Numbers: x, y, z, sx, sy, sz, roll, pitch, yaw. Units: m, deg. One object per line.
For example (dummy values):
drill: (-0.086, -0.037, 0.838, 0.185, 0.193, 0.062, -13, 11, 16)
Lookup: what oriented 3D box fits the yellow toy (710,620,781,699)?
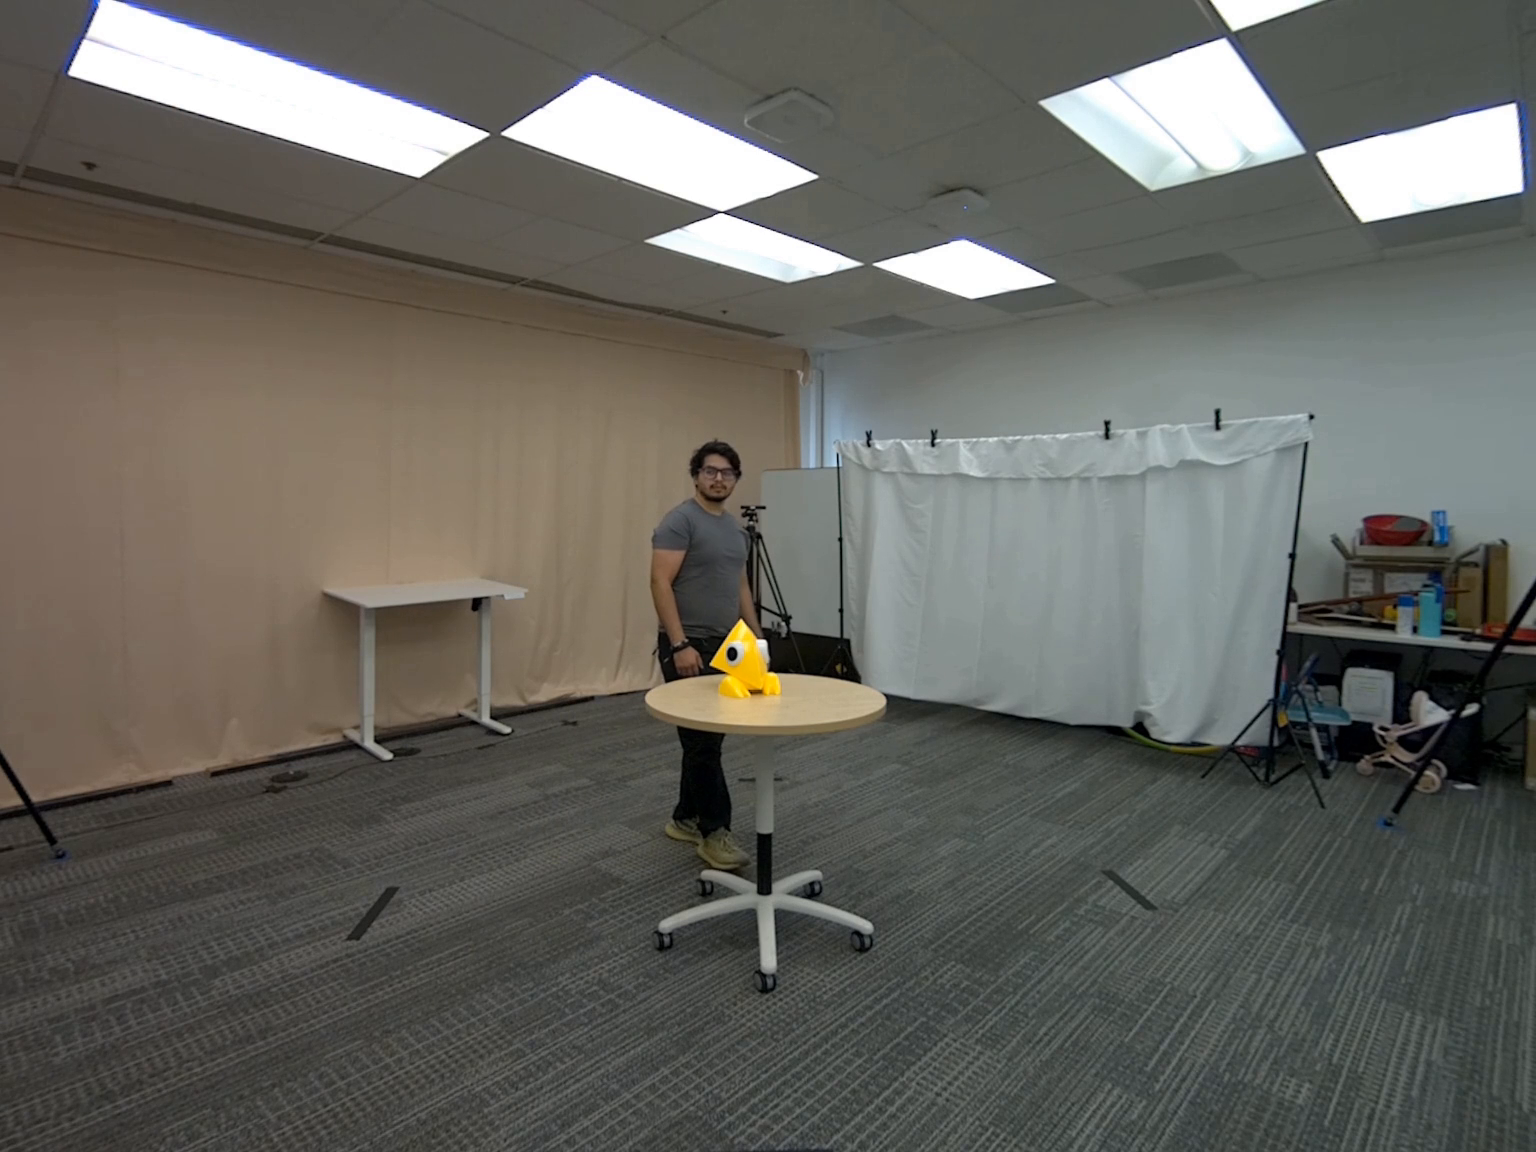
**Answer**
yellow toy: (-0.063, 0.266, 2.770, 0.200, 0.230, 0.198, -2, 4, -24)
